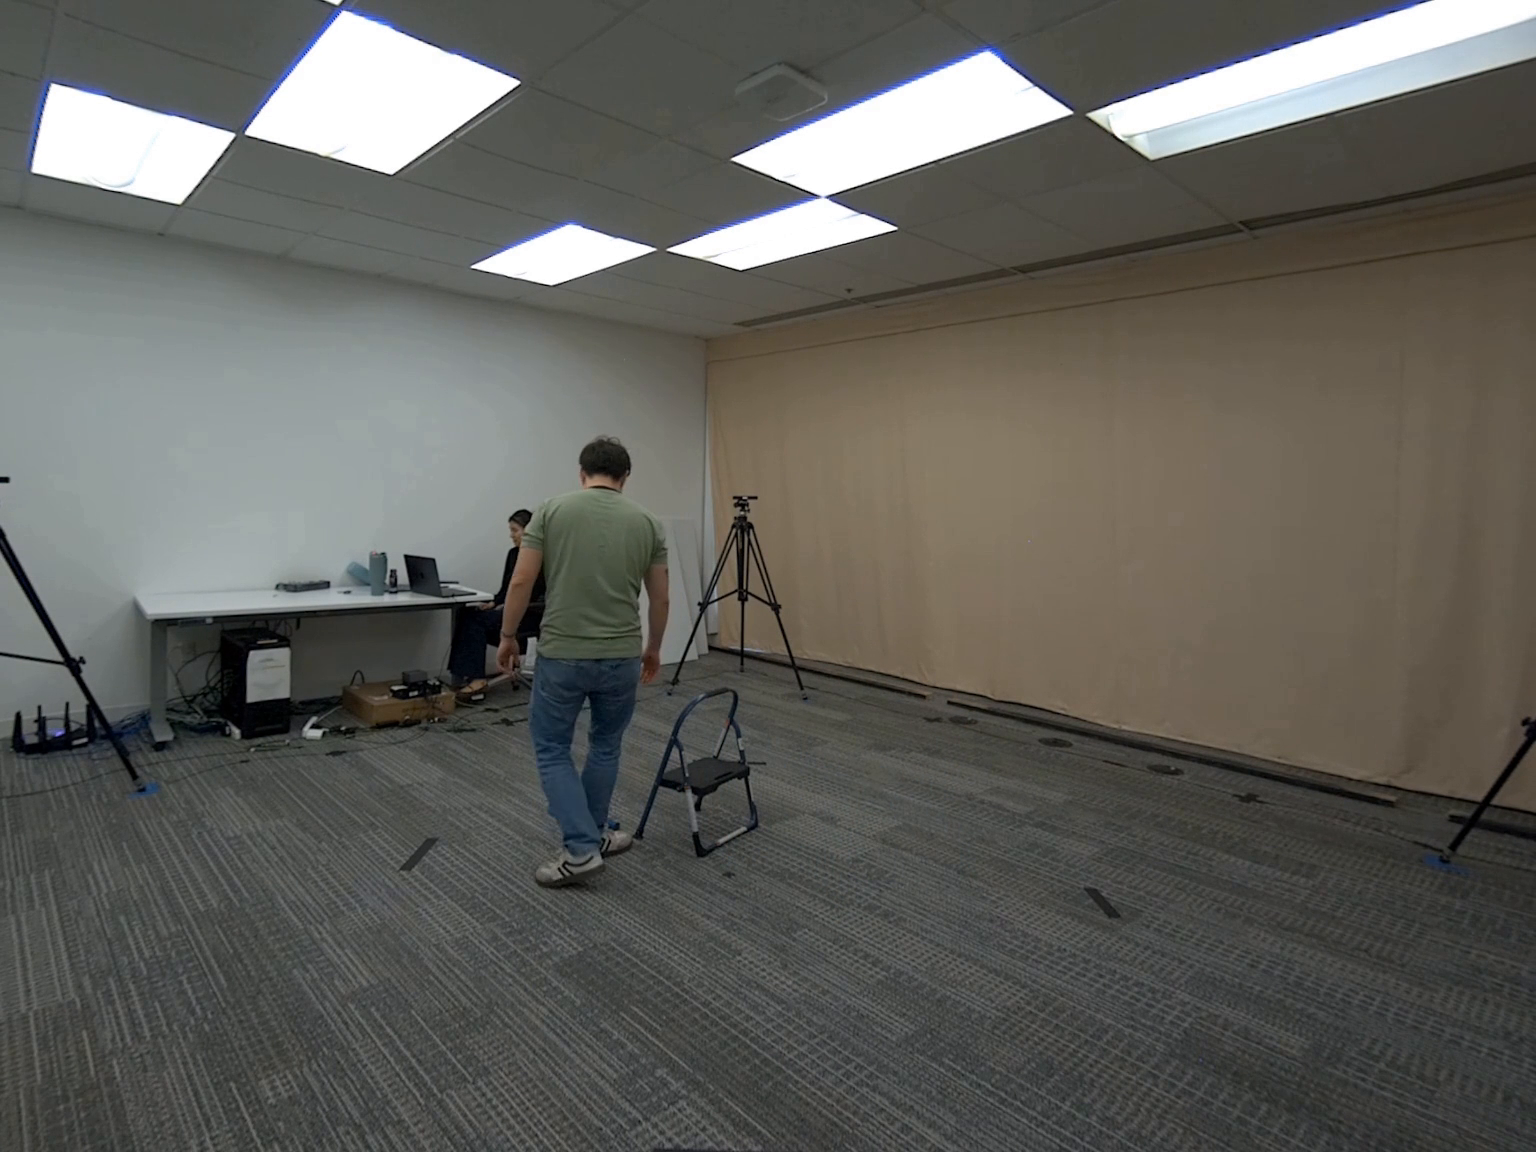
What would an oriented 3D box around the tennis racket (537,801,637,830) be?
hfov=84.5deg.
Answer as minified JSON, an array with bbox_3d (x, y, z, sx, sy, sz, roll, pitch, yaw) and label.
[{"bbox_3d":[-0.786,1.024,3.639,0.444,0.032,0.209,5,6,45],"label":"tennis racket"}]
